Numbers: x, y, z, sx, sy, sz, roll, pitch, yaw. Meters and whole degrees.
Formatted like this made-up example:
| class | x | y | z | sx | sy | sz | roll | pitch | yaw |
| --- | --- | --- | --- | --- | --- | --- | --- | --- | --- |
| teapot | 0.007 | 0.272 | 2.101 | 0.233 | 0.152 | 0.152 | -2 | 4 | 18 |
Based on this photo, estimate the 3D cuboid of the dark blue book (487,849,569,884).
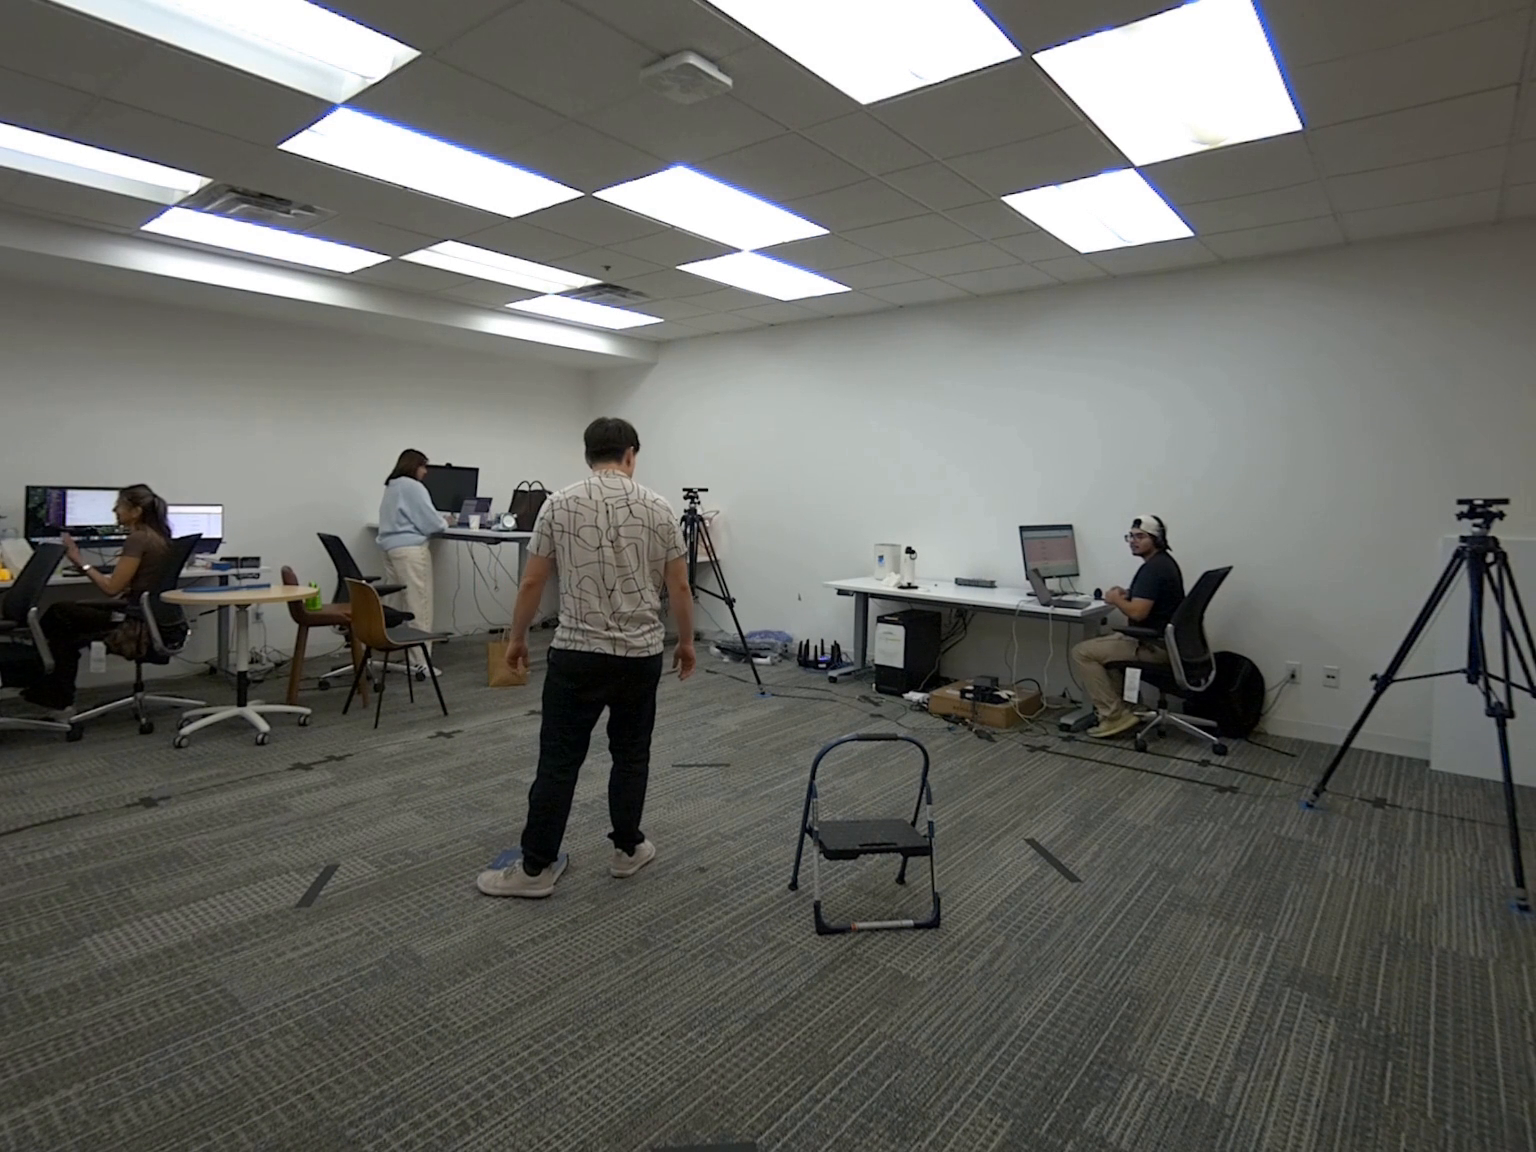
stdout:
| class | x | y | z | sx | sy | sz | roll | pitch | yaw |
| --- | --- | --- | --- | --- | --- | --- | --- | --- | --- |
| dark blue book | -0.867 | 1.037 | 3.055 | 0.247 | 0.045 | 0.163 | 2 | 6 | 7 |
